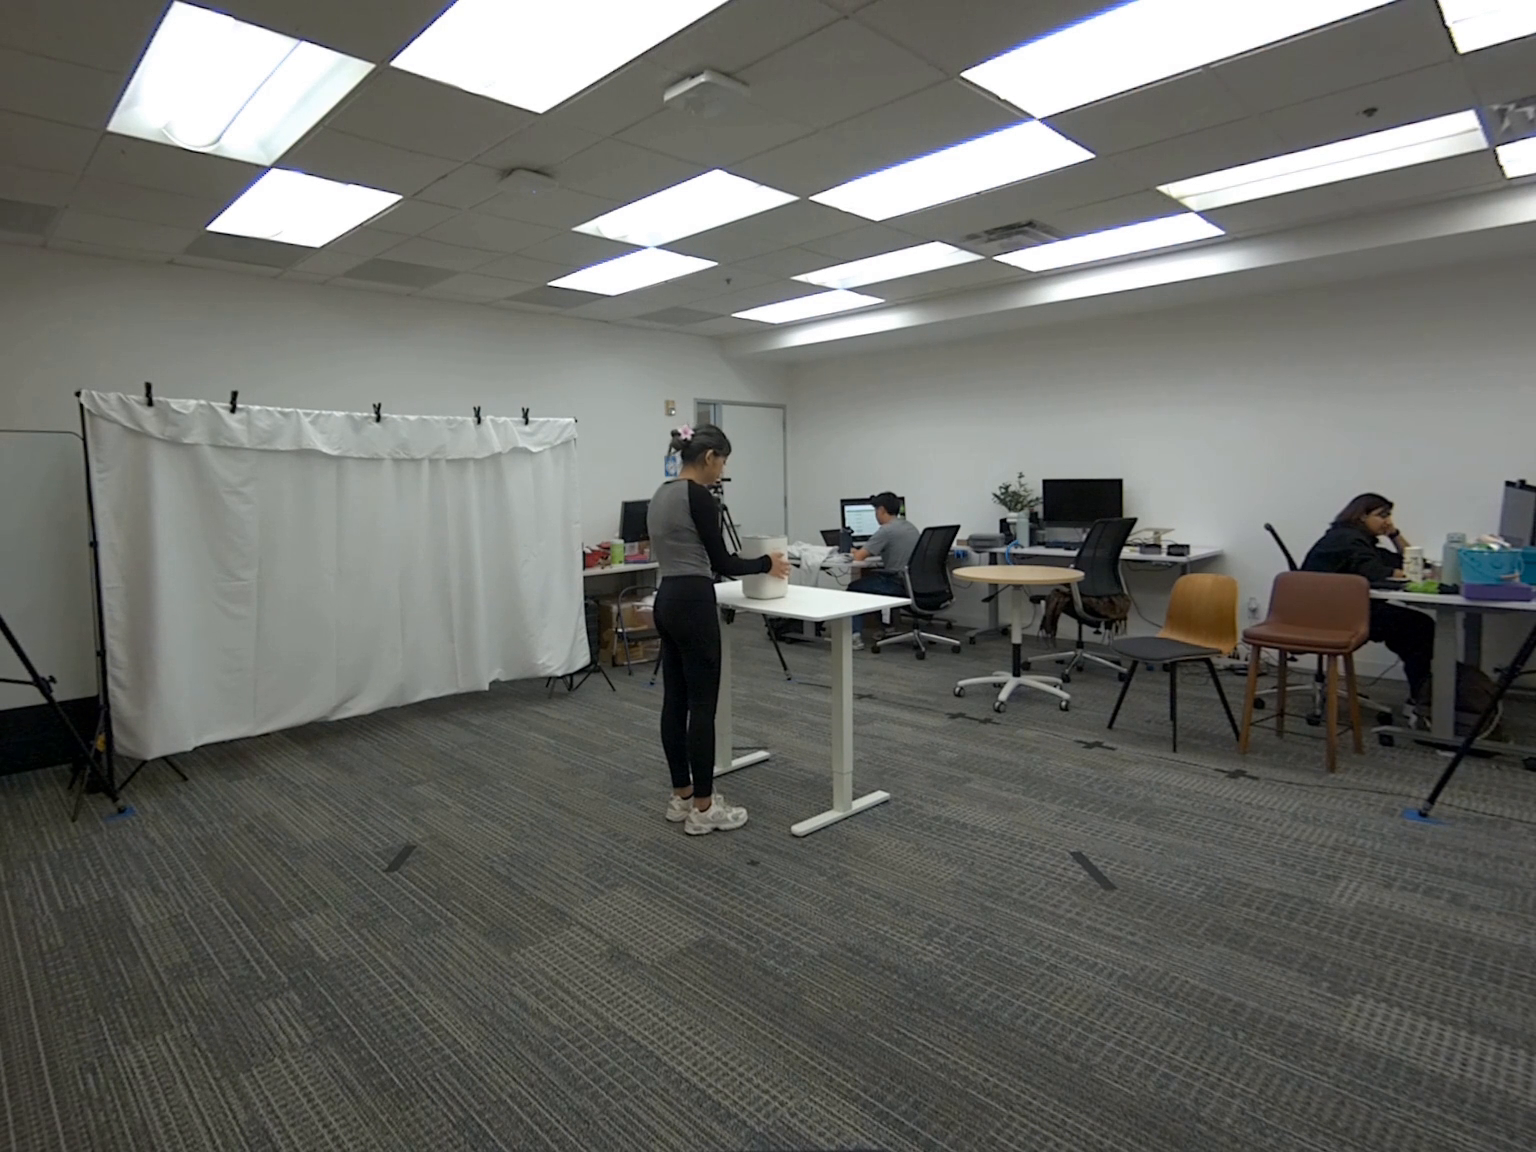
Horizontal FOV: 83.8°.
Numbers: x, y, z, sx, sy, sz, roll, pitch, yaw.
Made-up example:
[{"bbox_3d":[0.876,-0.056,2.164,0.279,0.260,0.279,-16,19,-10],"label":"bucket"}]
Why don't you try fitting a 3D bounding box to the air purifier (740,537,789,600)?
[{"bbox_3d":[-0.017,-0.040,3.692,0.167,0.264,0.177,-6,7,-41],"label":"air purifier"}]
